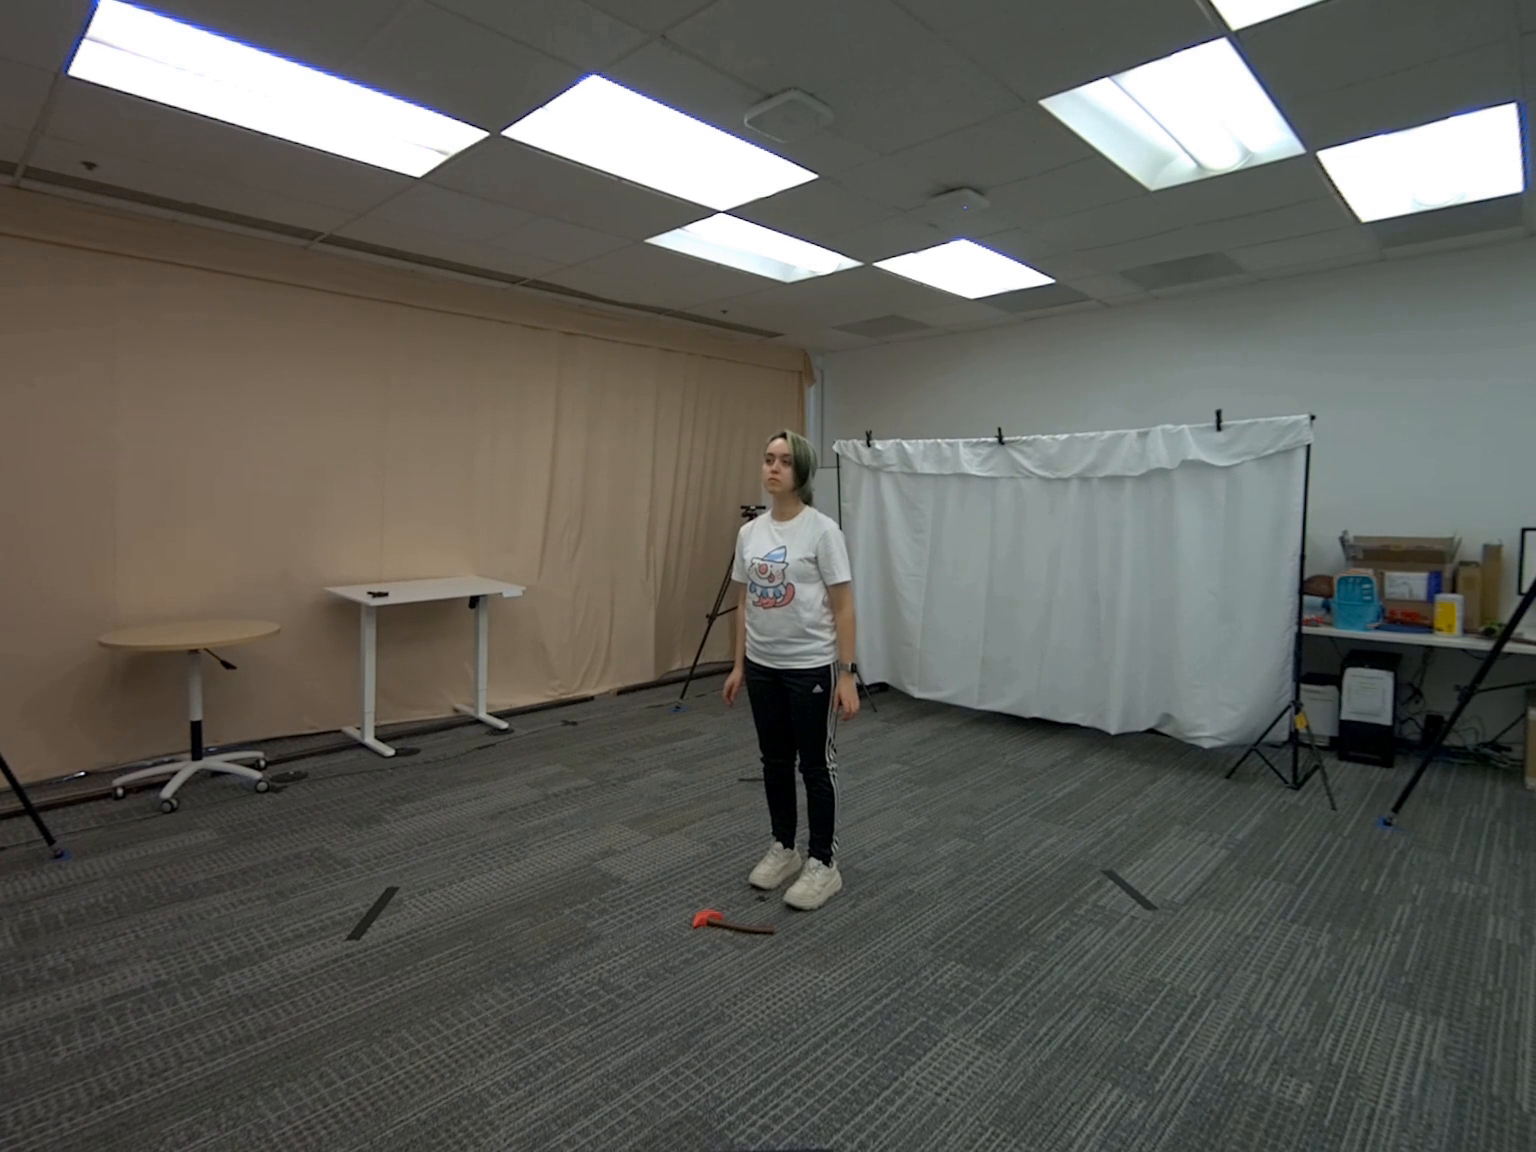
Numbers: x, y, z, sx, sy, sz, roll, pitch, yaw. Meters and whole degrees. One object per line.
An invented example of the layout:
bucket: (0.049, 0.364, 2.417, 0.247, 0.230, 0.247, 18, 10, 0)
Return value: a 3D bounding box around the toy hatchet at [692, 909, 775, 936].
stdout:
toy hatchet: (-0.109, 1.153, 2.803, 0.272, 0.029, 0.130, 3, 0, 5)
